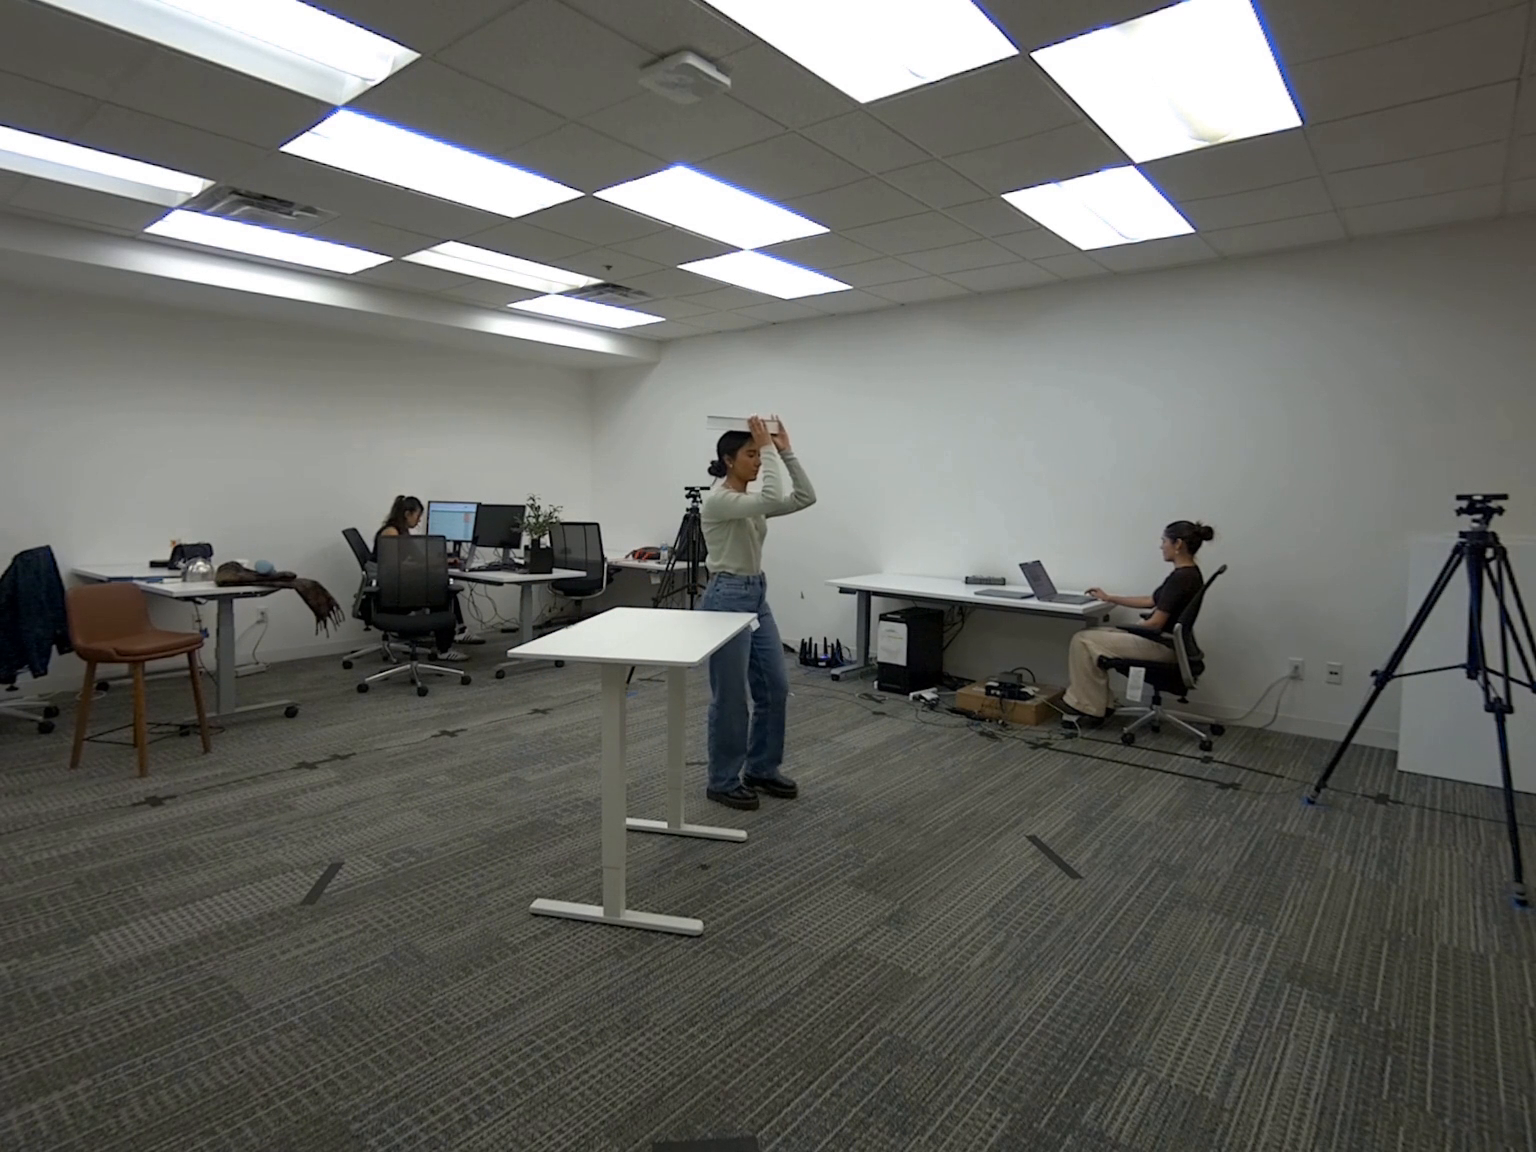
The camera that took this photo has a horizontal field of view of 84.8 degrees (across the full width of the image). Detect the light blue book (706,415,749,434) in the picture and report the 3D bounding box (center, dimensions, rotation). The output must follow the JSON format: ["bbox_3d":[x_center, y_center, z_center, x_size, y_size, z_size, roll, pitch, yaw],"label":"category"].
[{"bbox_3d":[-0.127,-0.666,3.717,0.269,0.058,0.187,9,10,29],"label":"light blue book"}]
